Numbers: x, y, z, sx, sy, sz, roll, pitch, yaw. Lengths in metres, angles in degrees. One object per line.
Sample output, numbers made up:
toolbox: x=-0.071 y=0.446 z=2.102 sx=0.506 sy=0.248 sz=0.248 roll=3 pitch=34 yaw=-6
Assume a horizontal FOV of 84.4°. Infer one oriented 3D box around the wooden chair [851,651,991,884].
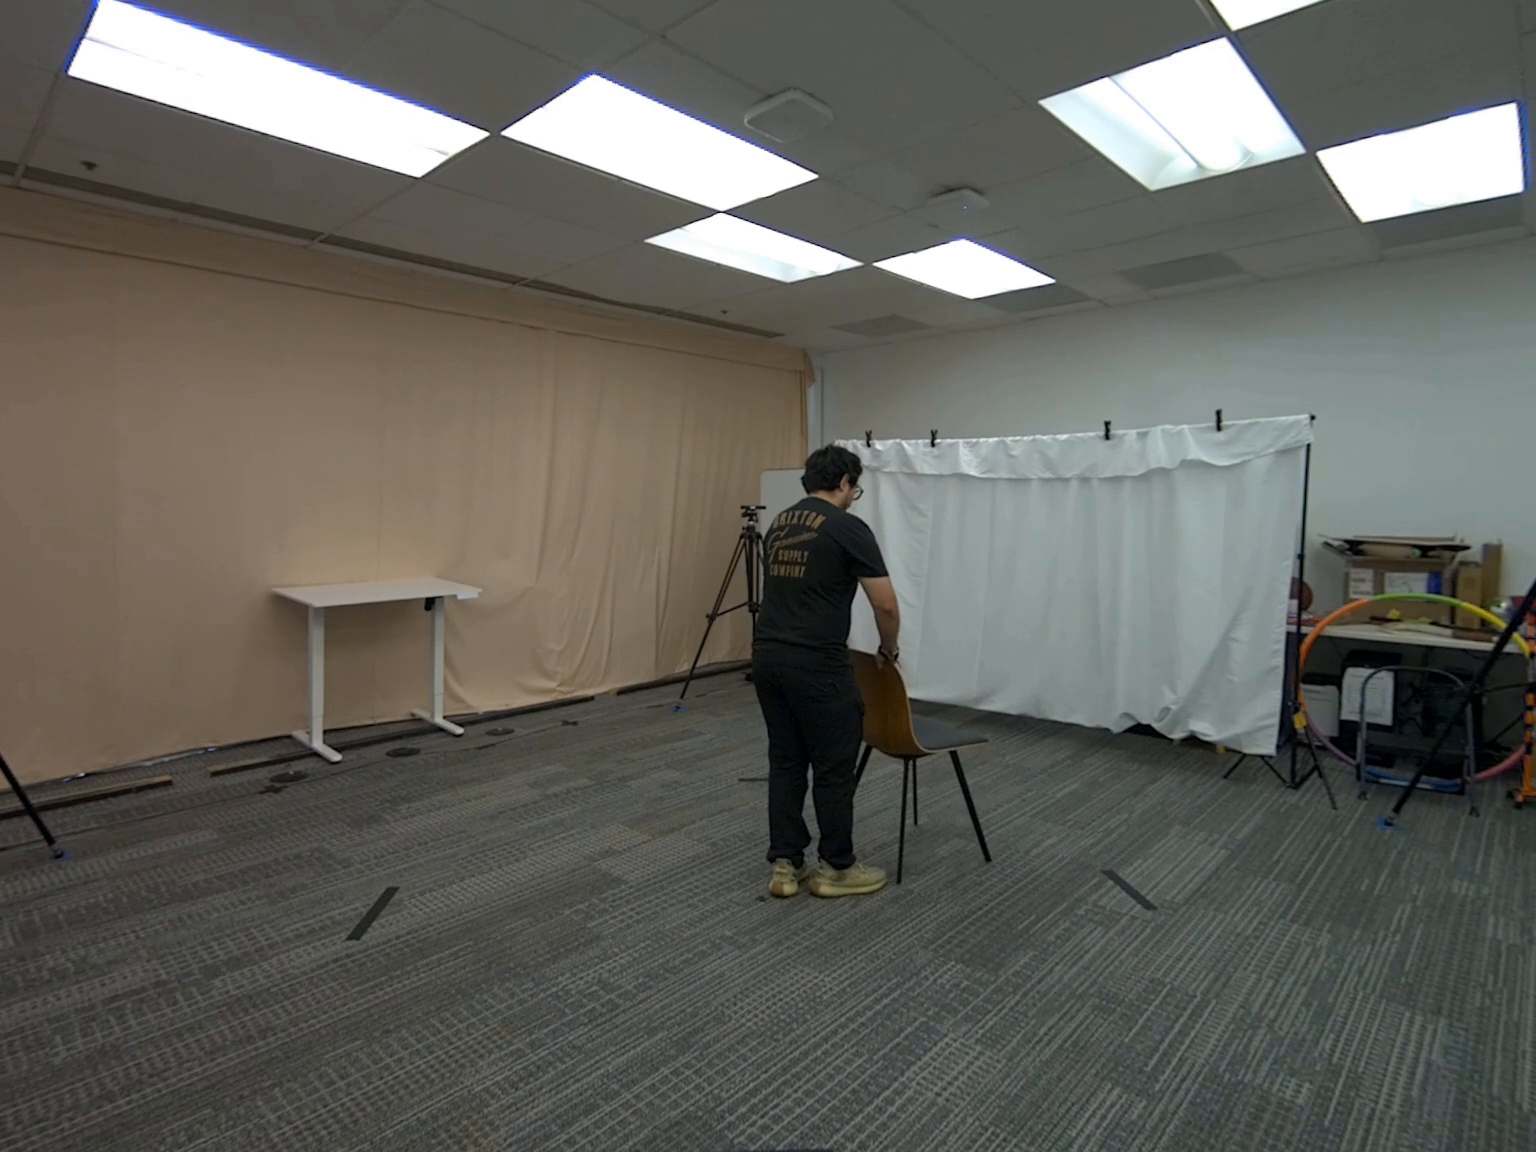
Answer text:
wooden chair: x=0.571 y=0.682 z=3.363 sx=0.511 sy=0.874 sz=0.491 roll=-7 pitch=5 yaw=-28
